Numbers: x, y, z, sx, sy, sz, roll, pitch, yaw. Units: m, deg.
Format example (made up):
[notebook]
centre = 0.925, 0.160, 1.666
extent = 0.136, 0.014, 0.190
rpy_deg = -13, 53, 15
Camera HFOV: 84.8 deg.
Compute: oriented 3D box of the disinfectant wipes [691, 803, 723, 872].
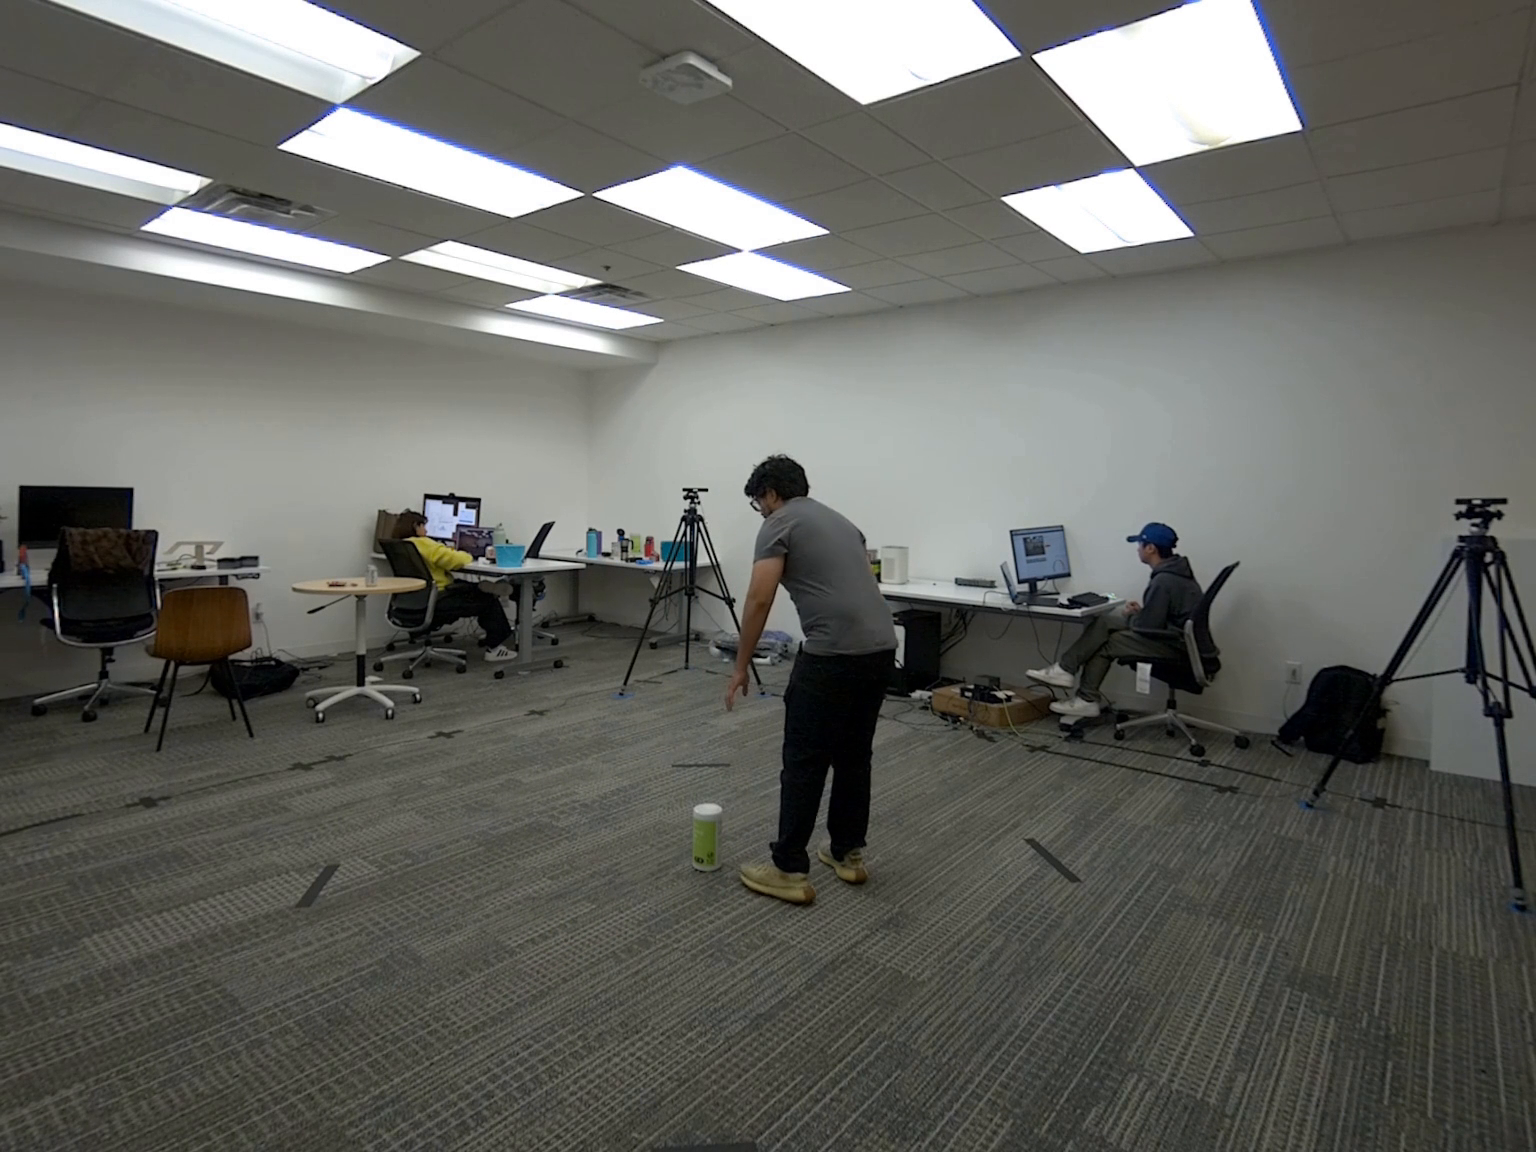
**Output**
[disinfectant wipes]
centre = -0.233, 0.959, 3.143
extent = 0.118, 0.217, 0.118
rpy_deg = -1, 3, -2
